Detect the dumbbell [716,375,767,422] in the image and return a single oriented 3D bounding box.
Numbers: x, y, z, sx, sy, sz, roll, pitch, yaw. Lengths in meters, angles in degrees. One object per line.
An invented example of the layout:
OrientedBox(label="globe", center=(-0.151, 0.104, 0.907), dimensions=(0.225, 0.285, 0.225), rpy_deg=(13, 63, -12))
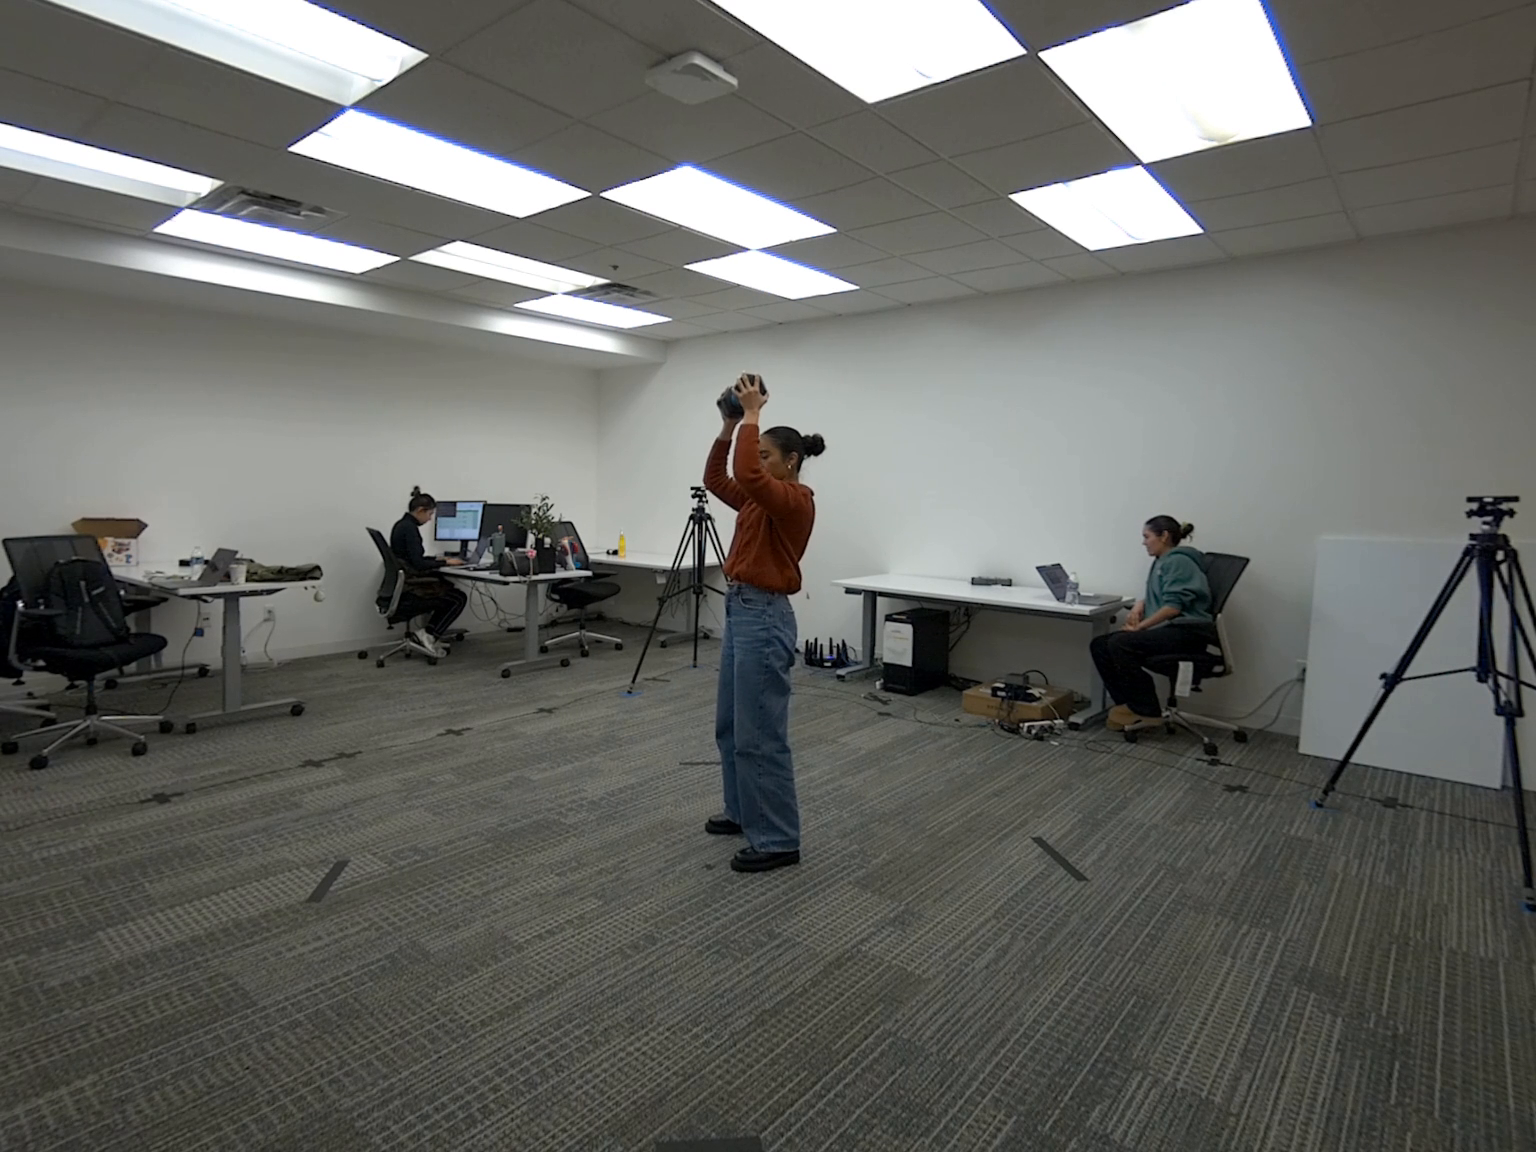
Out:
OrientedBox(label="dumbbell", center=(-0.111, -0.679, 3.227), dimensions=(0.107, 0.123, 0.297), rpy_deg=(37, -8, -12))
